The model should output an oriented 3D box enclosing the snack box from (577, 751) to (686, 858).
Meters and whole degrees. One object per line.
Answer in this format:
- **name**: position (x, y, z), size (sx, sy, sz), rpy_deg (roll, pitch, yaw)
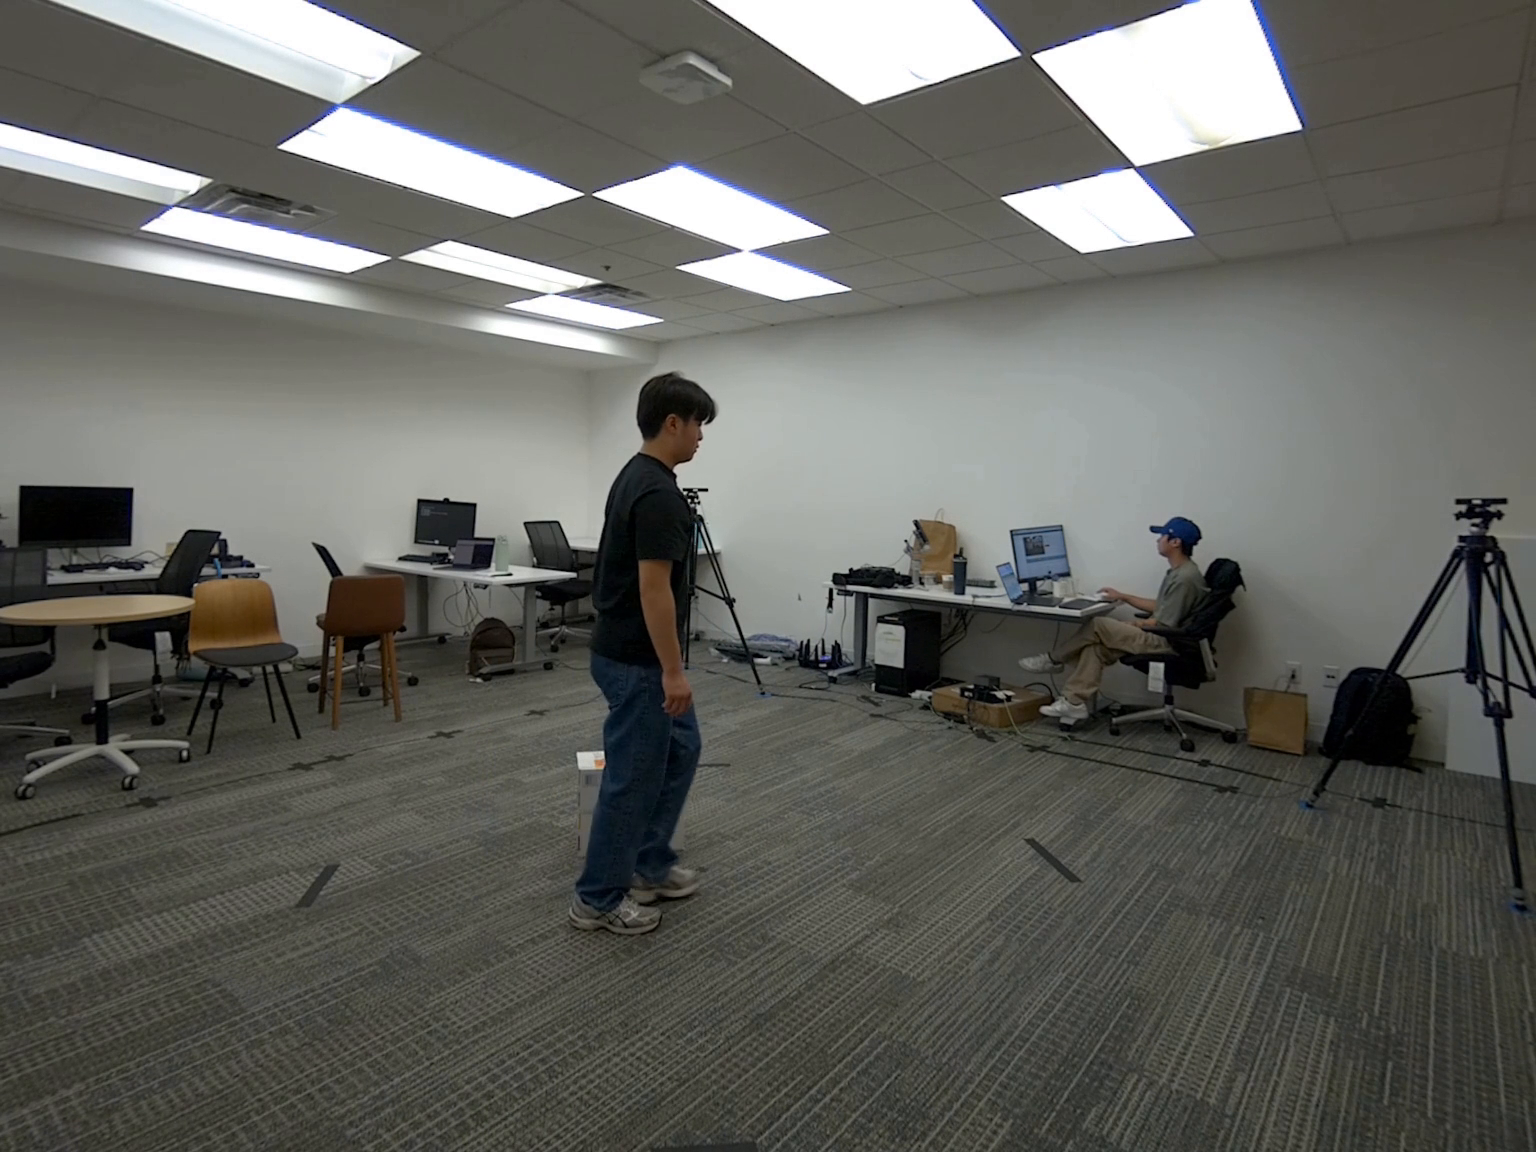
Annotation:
- **snack box**: position (-0.552, 0.870, 3.317), size (0.399, 0.339, 0.209), rpy_deg (0, 5, -13)
